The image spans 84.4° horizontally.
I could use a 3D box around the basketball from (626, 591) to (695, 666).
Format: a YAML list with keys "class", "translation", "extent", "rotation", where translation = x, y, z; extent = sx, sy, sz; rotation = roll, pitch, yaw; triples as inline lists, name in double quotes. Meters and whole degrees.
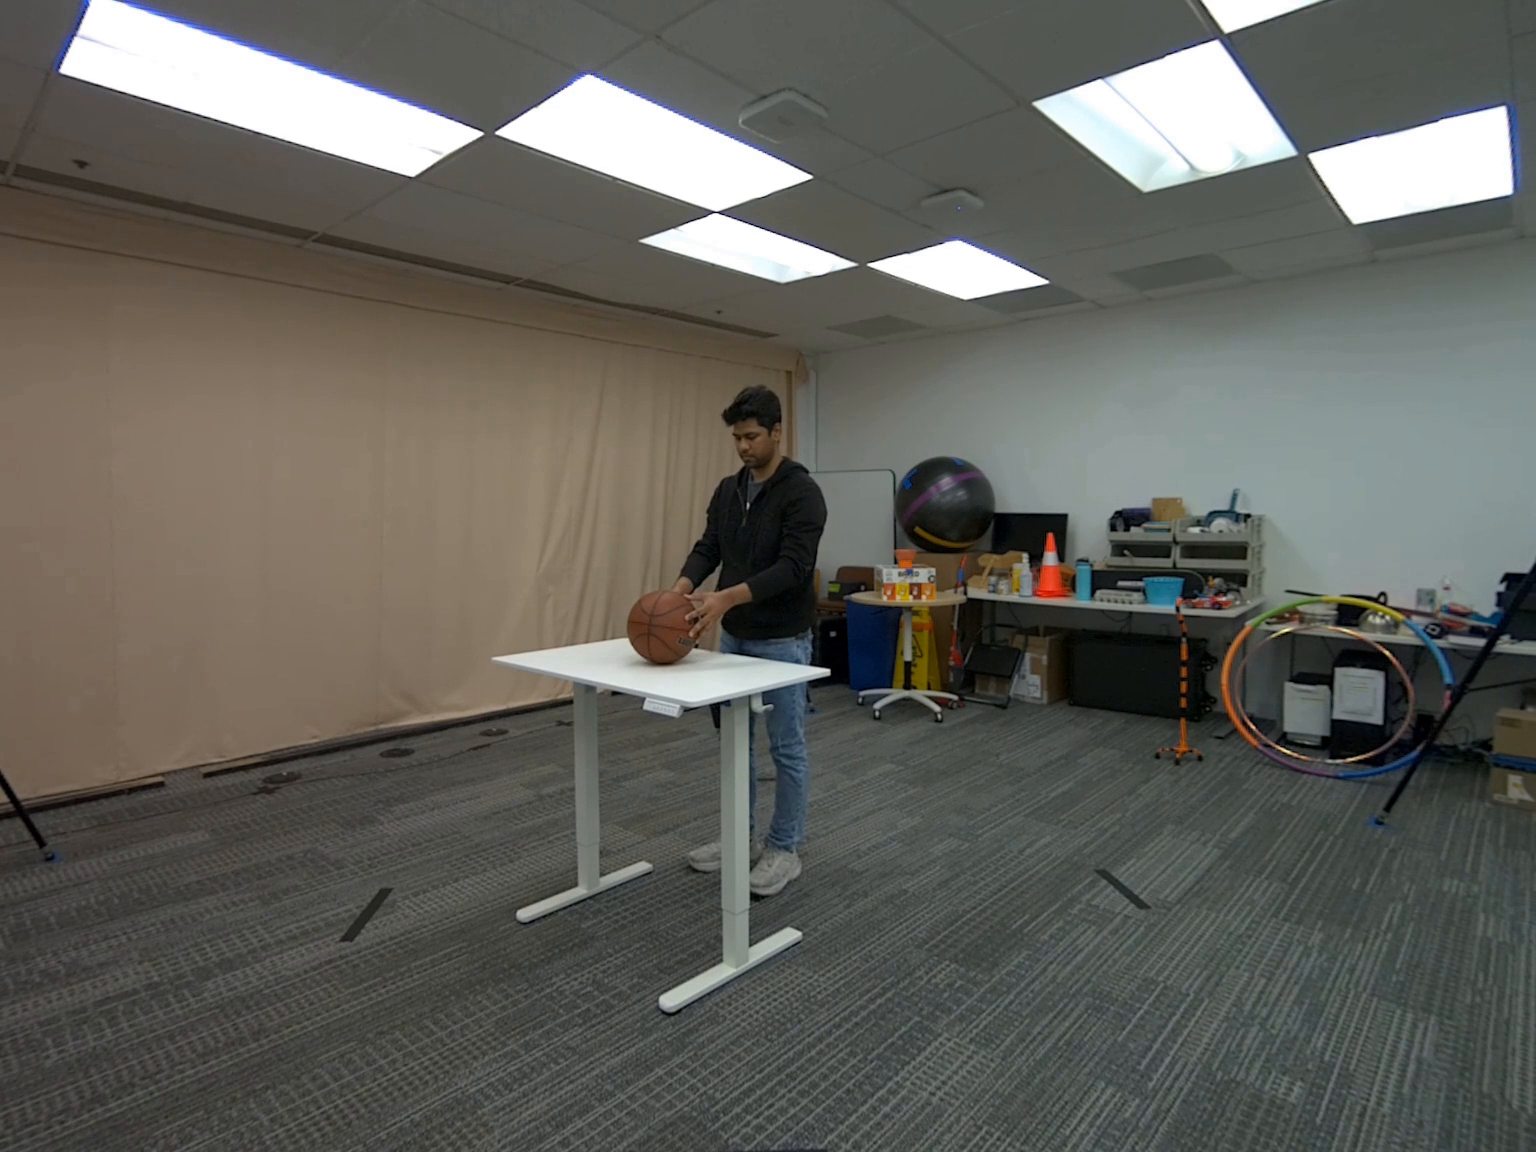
- class: "basketball"
  translation: [-0.330, 0.160, 2.745]
  extent: [0.236, 0.235, 0.237]
  rotation: [0, 4, -2]
